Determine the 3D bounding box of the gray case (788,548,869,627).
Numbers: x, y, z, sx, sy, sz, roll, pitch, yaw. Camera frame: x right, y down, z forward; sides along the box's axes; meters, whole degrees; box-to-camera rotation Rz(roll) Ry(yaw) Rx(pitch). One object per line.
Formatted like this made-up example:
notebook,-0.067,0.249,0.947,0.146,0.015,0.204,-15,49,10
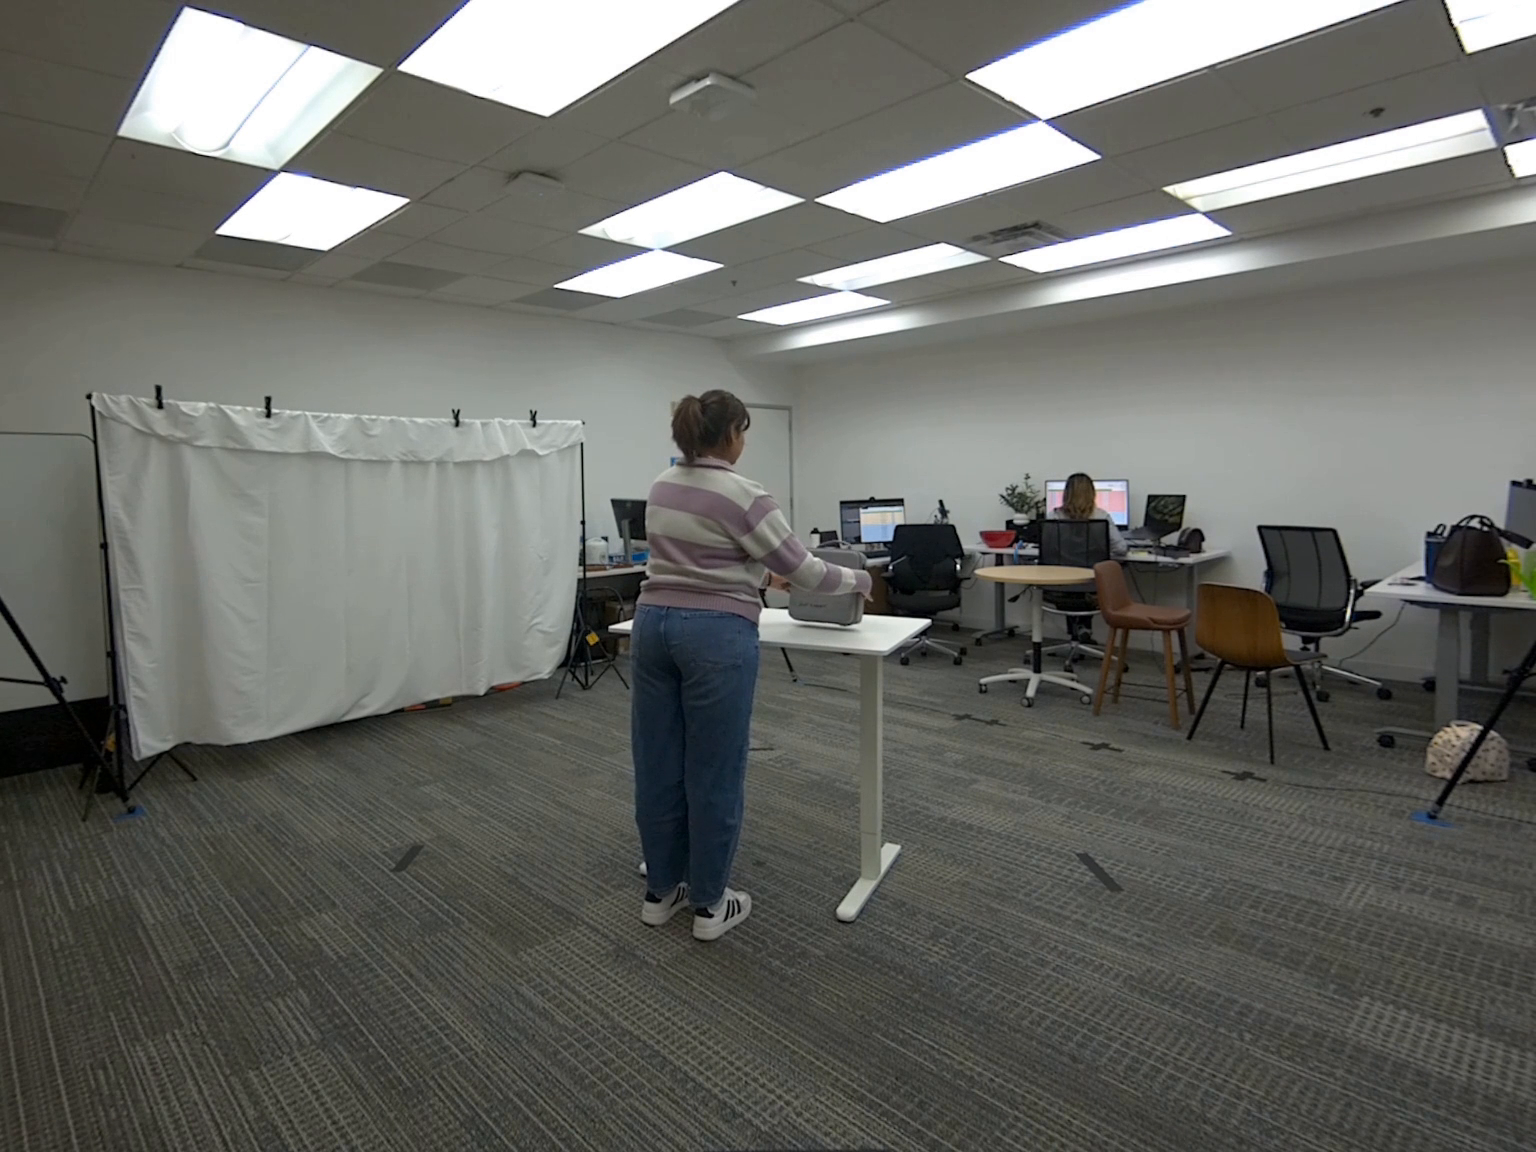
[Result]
gray case,0.203,0.032,2.965,0.264,0.262,0.101,4,-6,33
